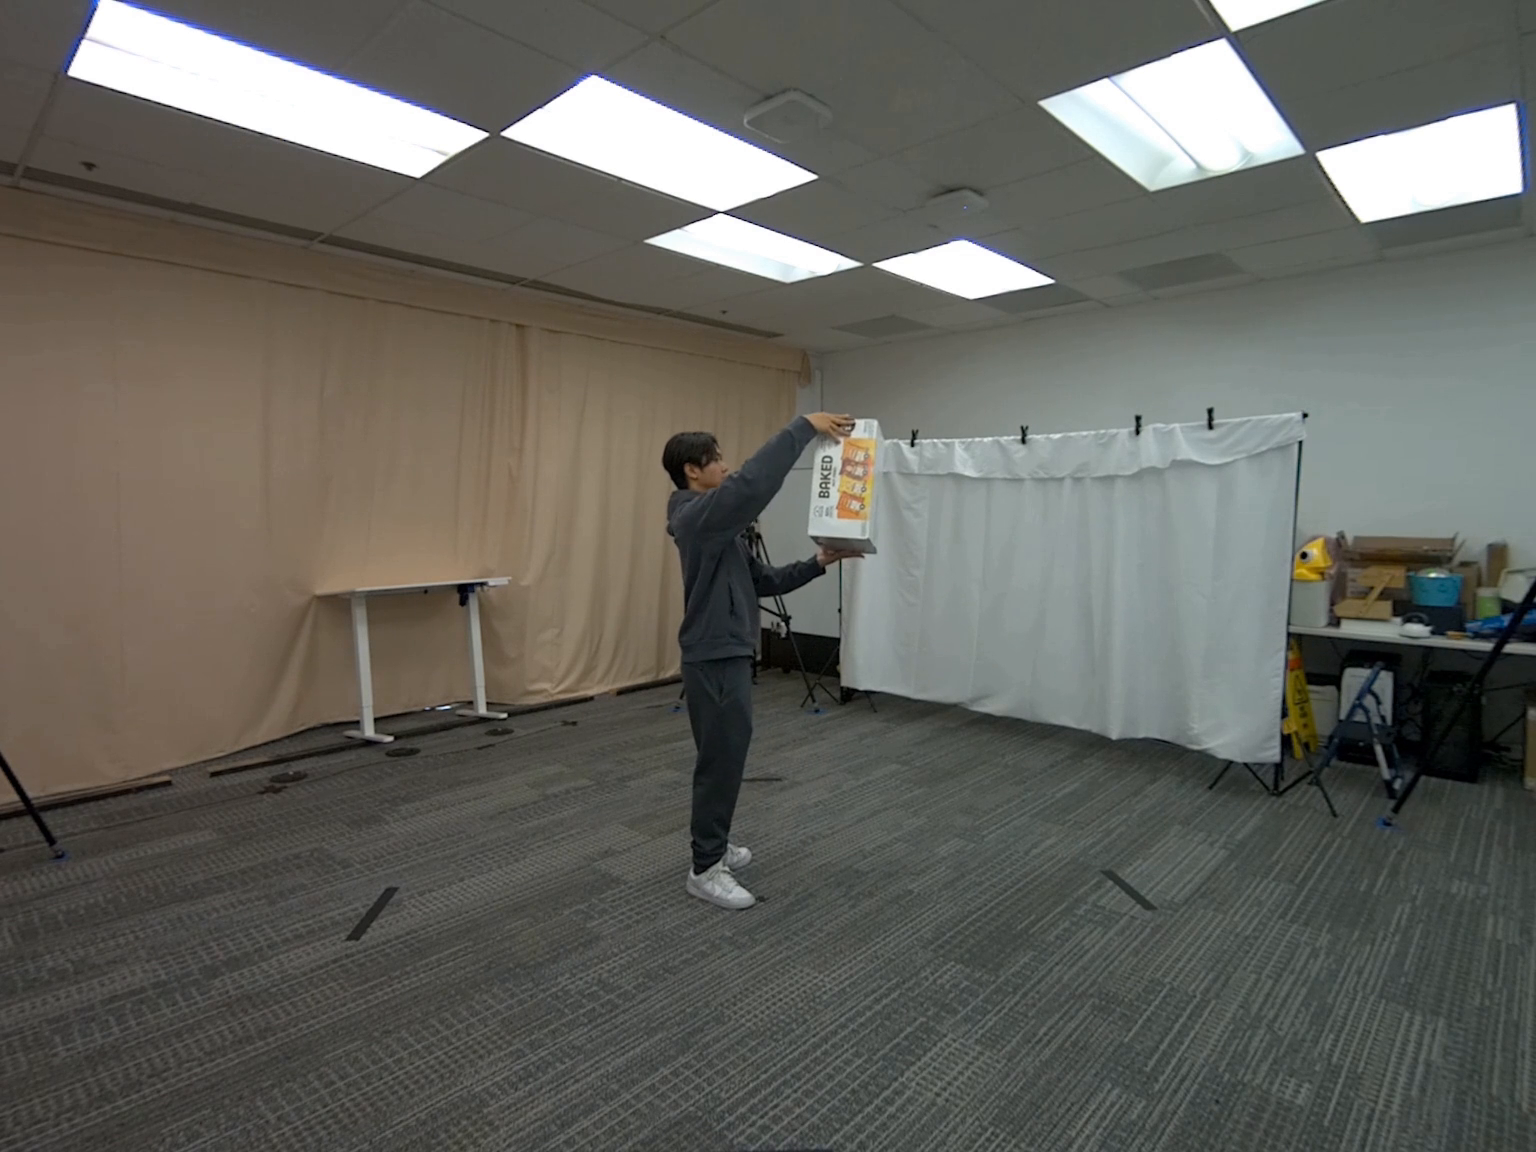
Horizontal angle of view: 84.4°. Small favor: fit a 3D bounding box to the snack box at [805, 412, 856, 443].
[{"bbox_3d":[0.292,-0.308,2.939,0.209,0.407,0.333,3,-8,14],"label":"snack box"}]
